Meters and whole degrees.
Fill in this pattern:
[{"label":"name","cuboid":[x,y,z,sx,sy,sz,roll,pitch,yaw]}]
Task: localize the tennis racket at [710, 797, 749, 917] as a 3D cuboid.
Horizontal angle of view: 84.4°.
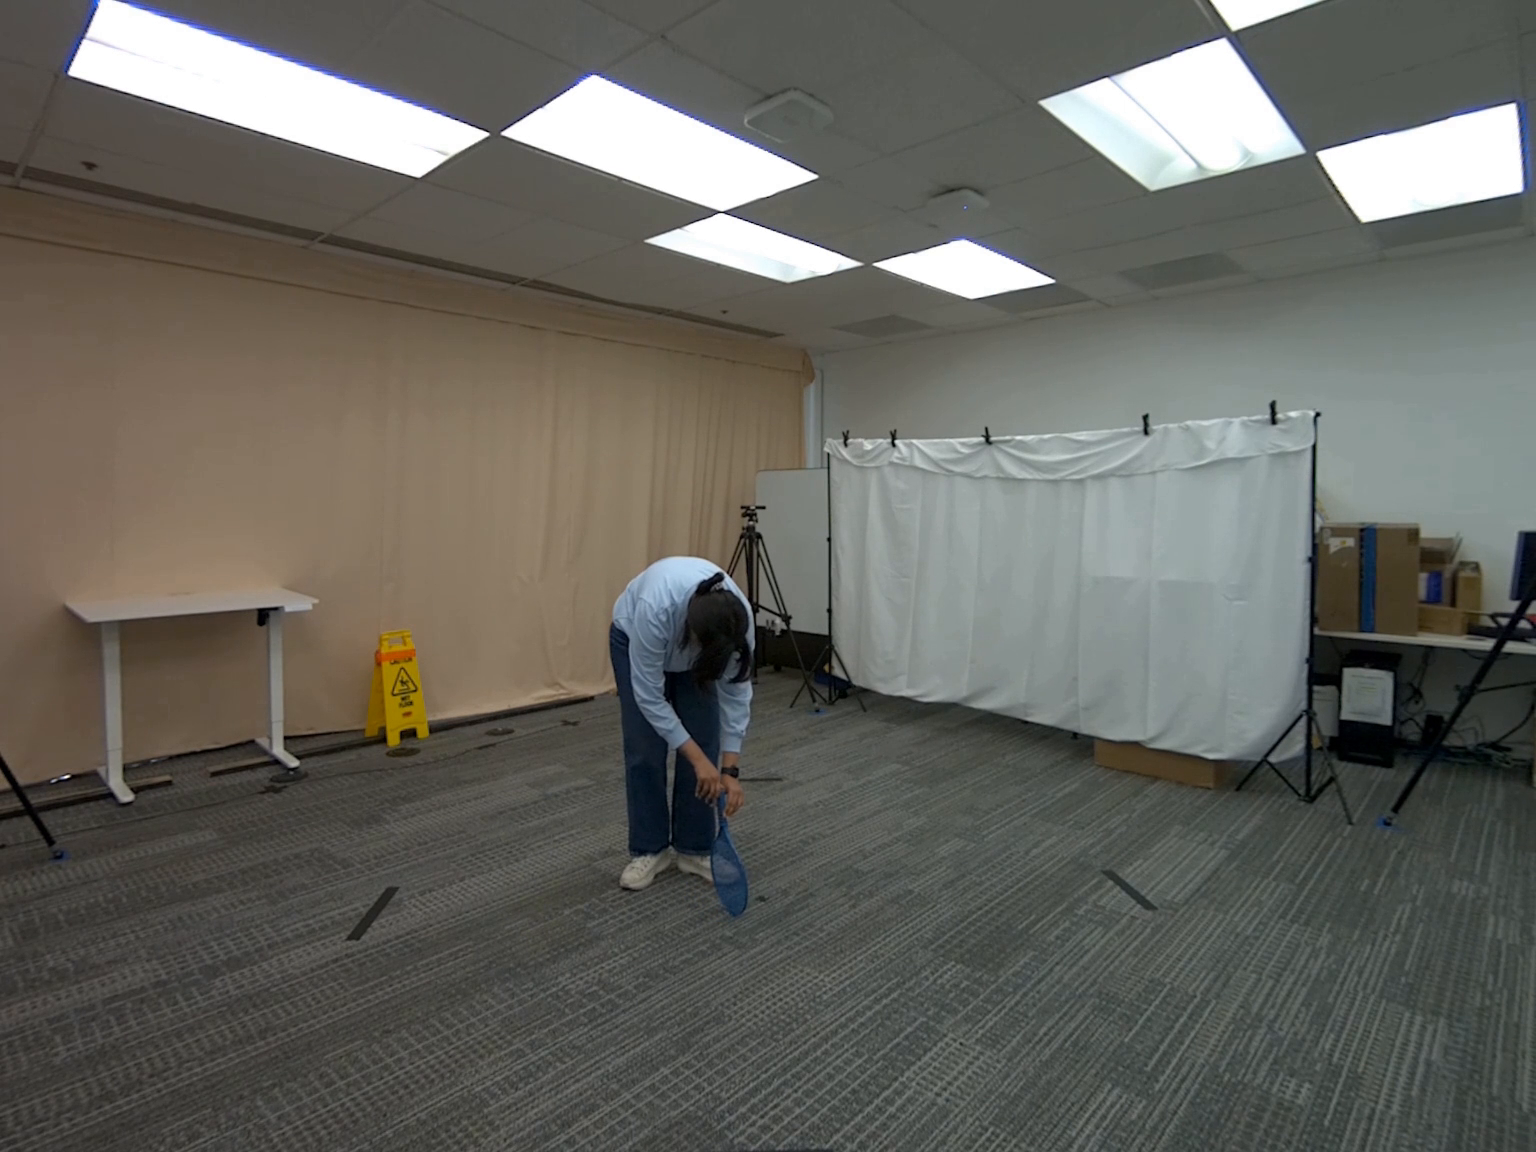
[{"label":"tennis racket","cuboid":[-0.137,0.941,2.858,0.031,0.432,0.220,-7,4,-35]}]
